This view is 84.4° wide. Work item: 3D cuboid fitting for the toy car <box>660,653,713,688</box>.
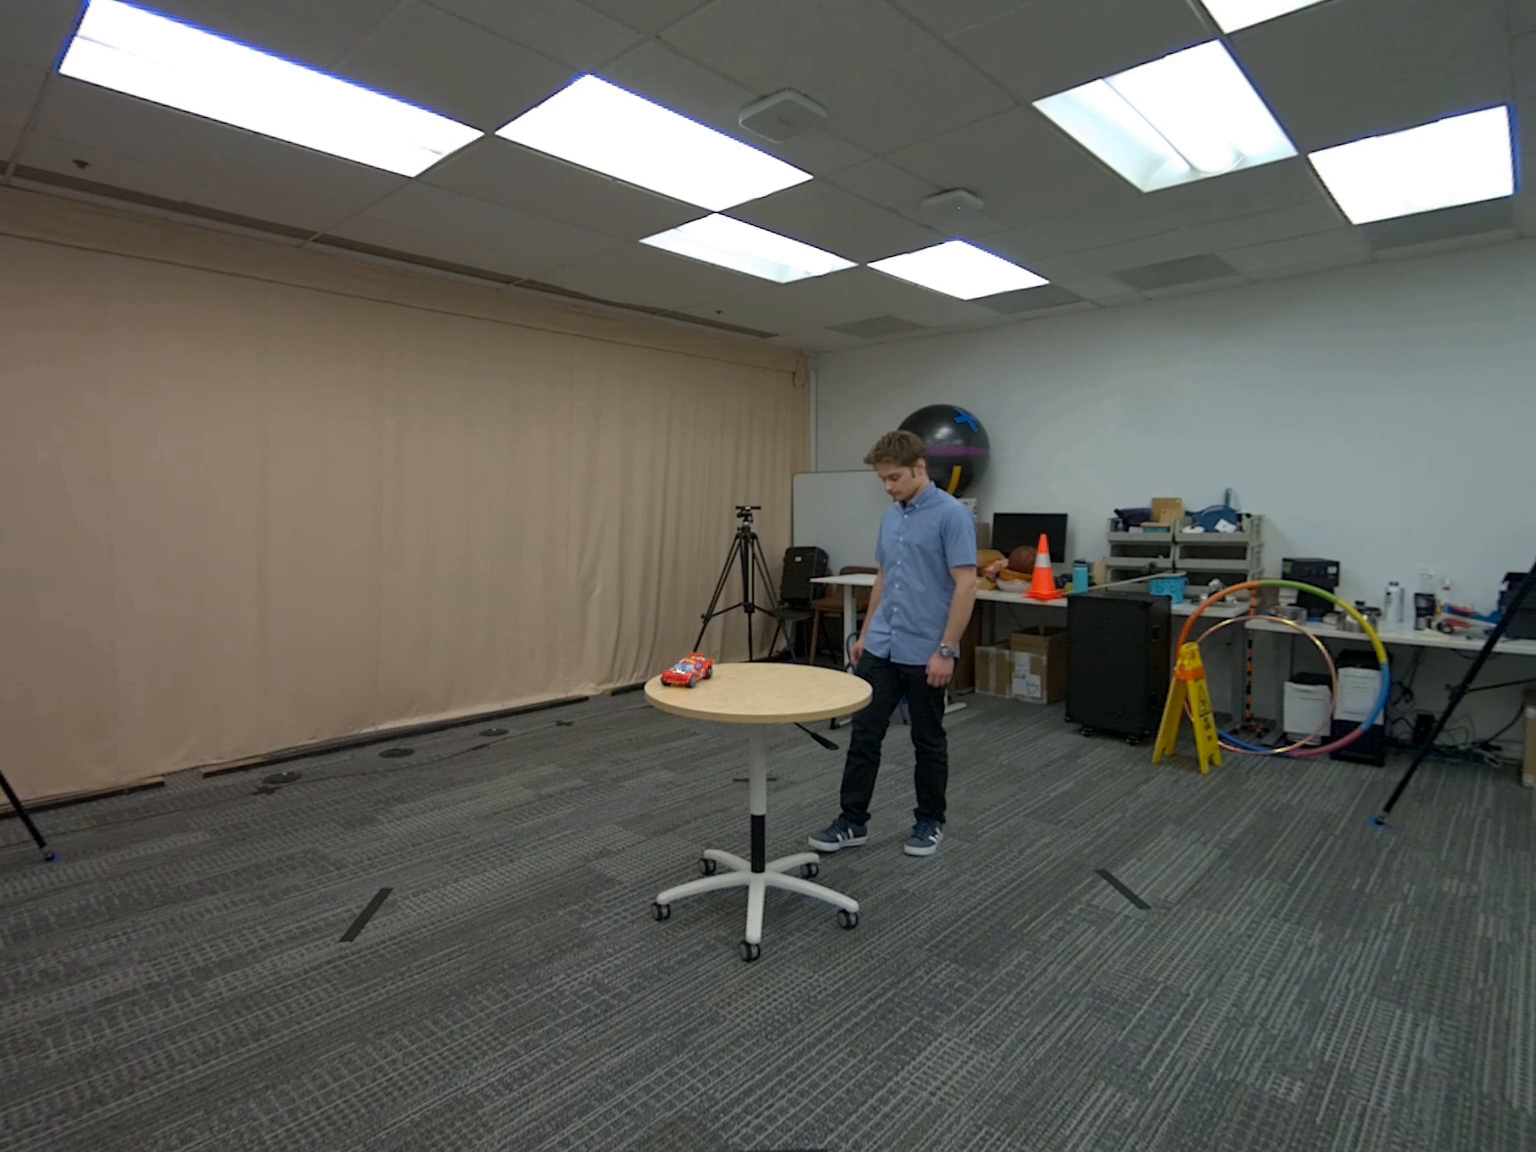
[{"bbox_3d":[-0.267,0.336,2.925,0.133,0.082,0.252,1,16,18],"label":"toy car"}]
